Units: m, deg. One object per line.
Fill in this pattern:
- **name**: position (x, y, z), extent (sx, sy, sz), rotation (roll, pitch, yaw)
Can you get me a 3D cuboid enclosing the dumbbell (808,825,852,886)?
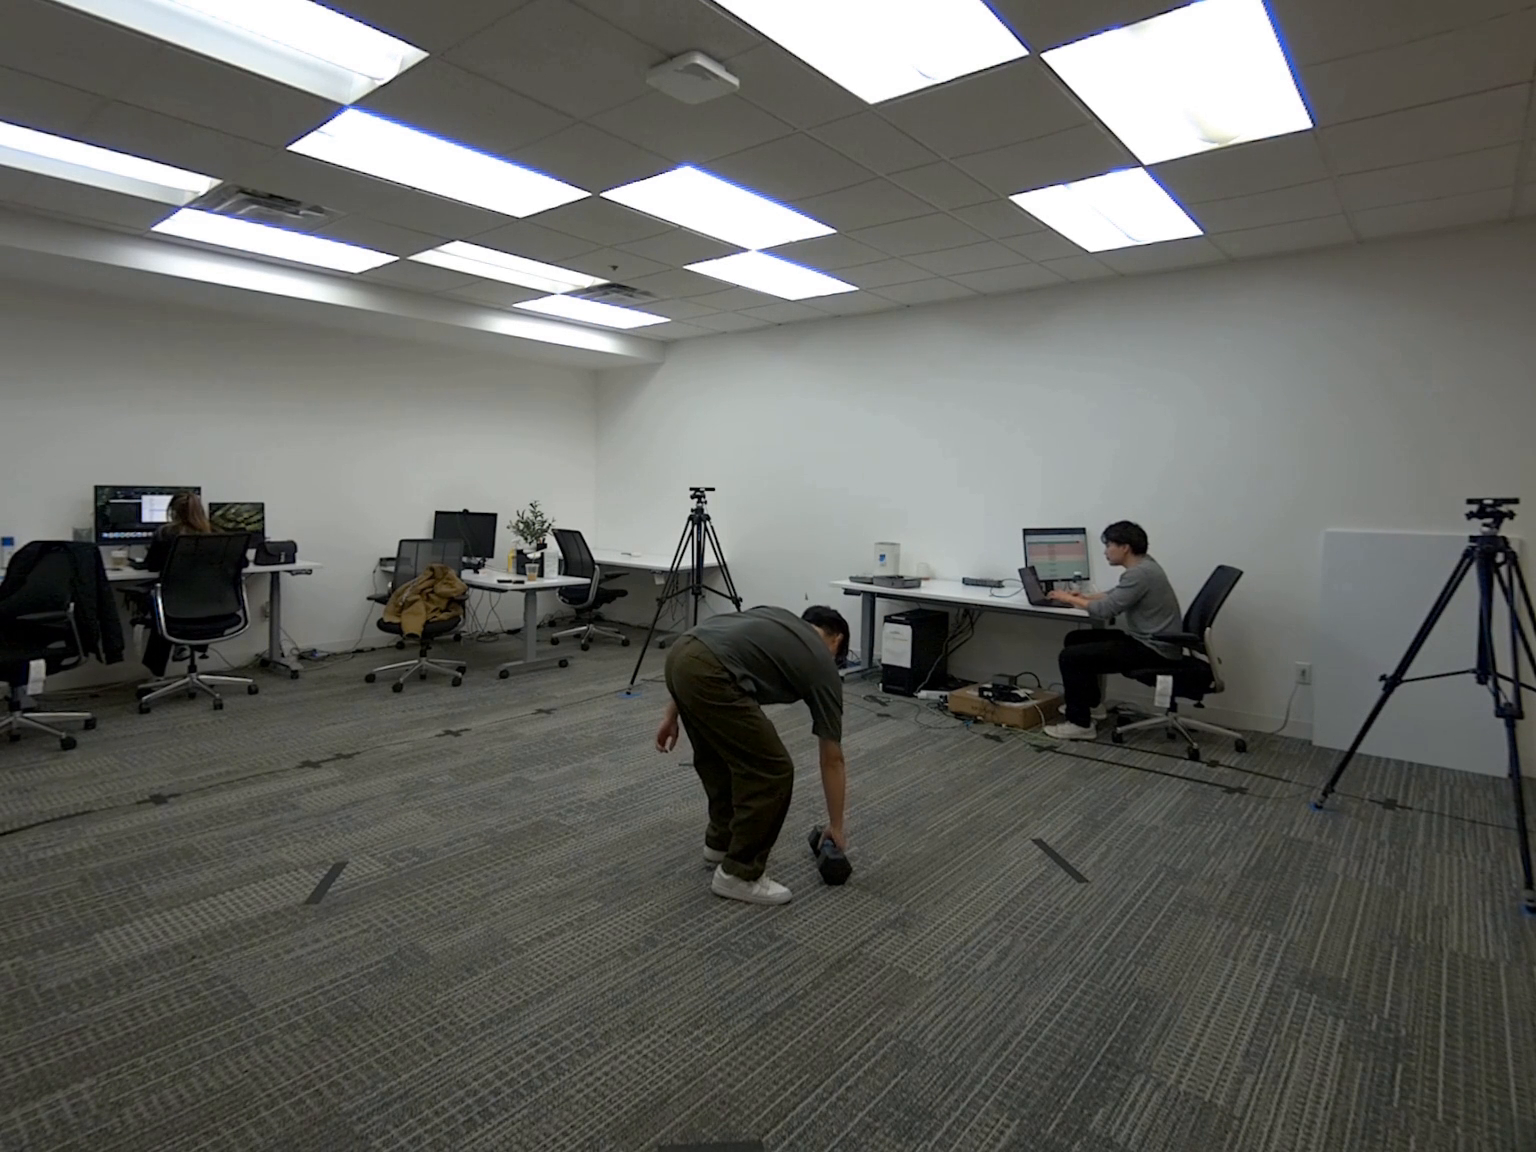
- **dumbbell**: position (0.222, 1.022, 3.134), extent (0.108, 0.123, 0.296), rotation (30, 2, -7)
